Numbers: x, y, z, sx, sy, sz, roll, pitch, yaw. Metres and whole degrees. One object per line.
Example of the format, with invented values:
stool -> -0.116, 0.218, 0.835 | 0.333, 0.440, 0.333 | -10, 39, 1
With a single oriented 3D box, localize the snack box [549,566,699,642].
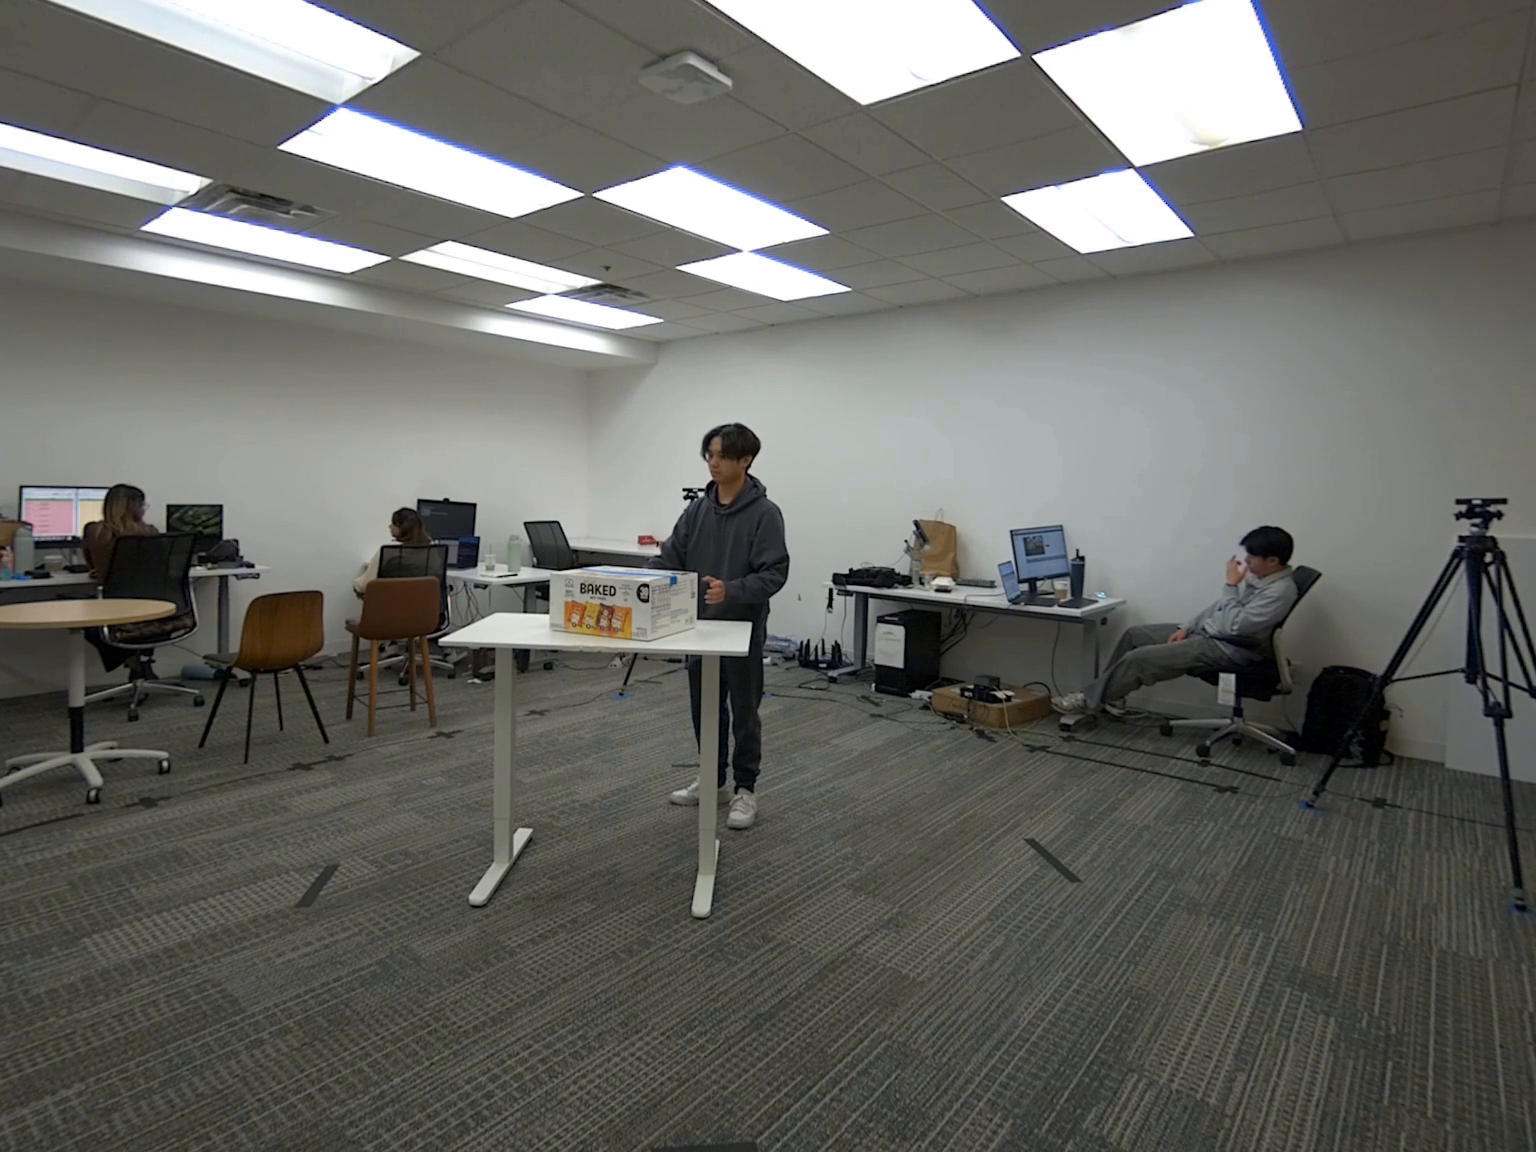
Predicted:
snack box -> -0.521, 0.089, 3.034 | 0.416, 0.205, 0.333 | 4, 6, 25
